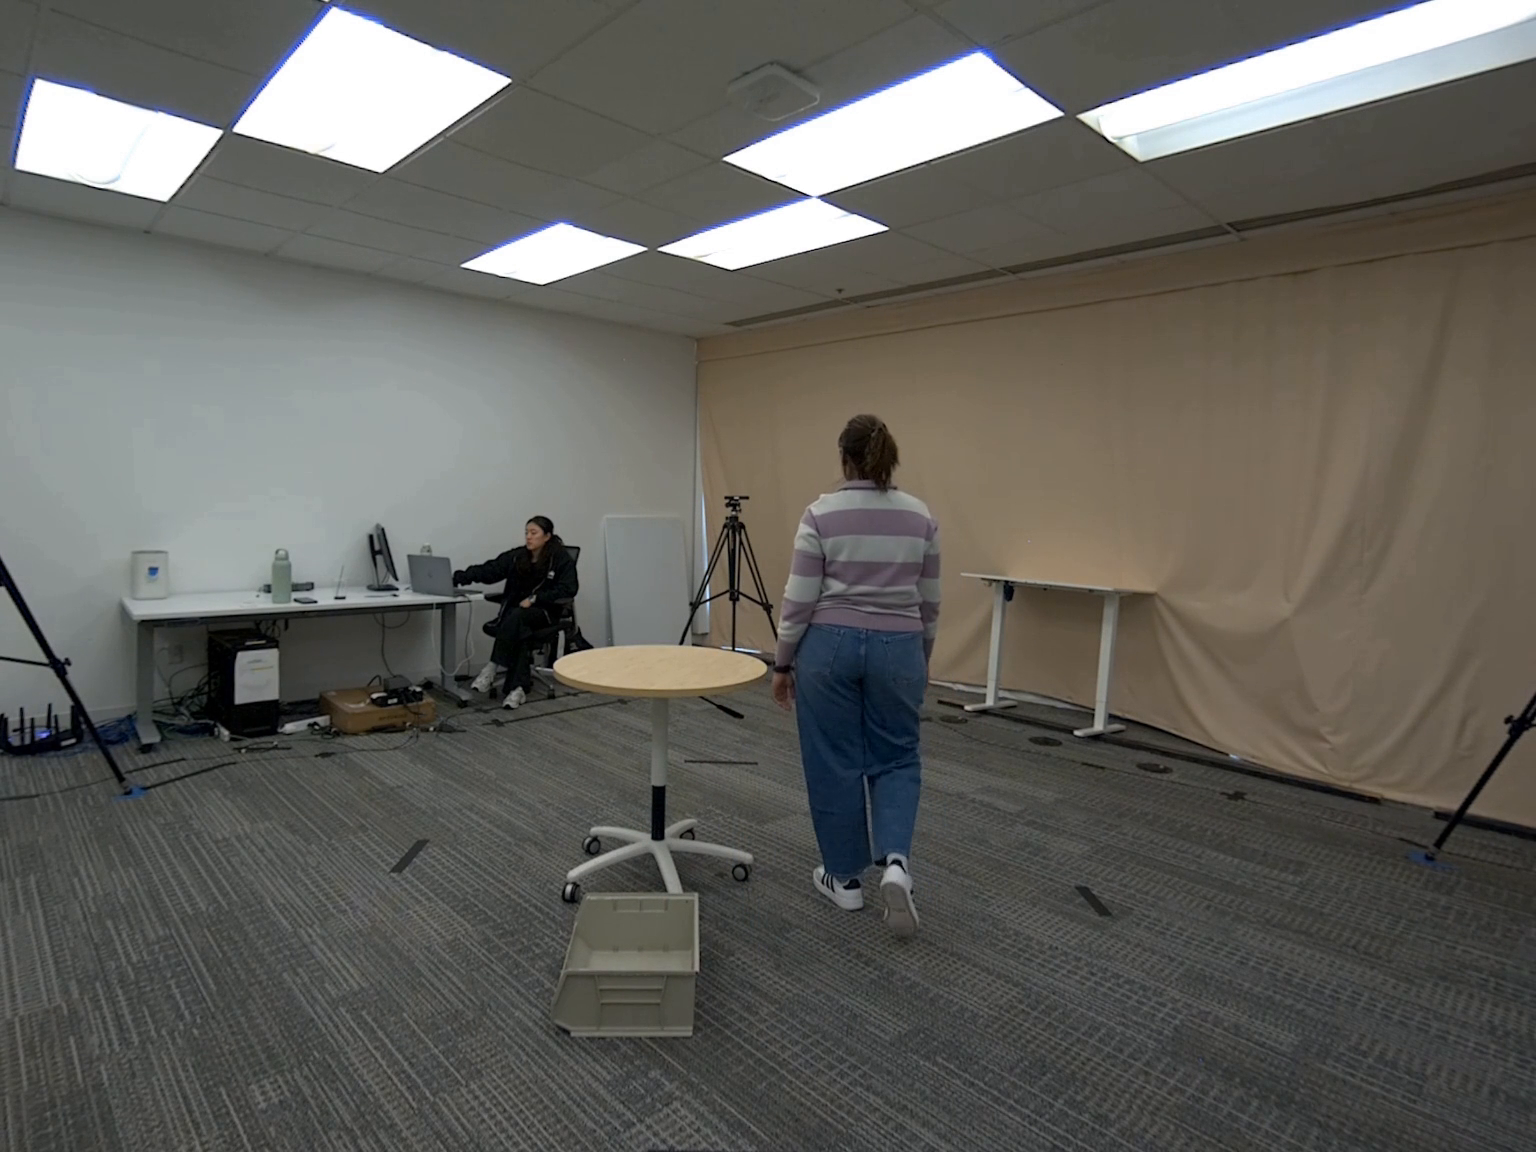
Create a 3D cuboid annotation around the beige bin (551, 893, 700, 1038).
[{"bbox_3d":[-0.391,1.080,2.355,0.376,0.188,0.425,1,4,-4],"label":"beige bin"}]
